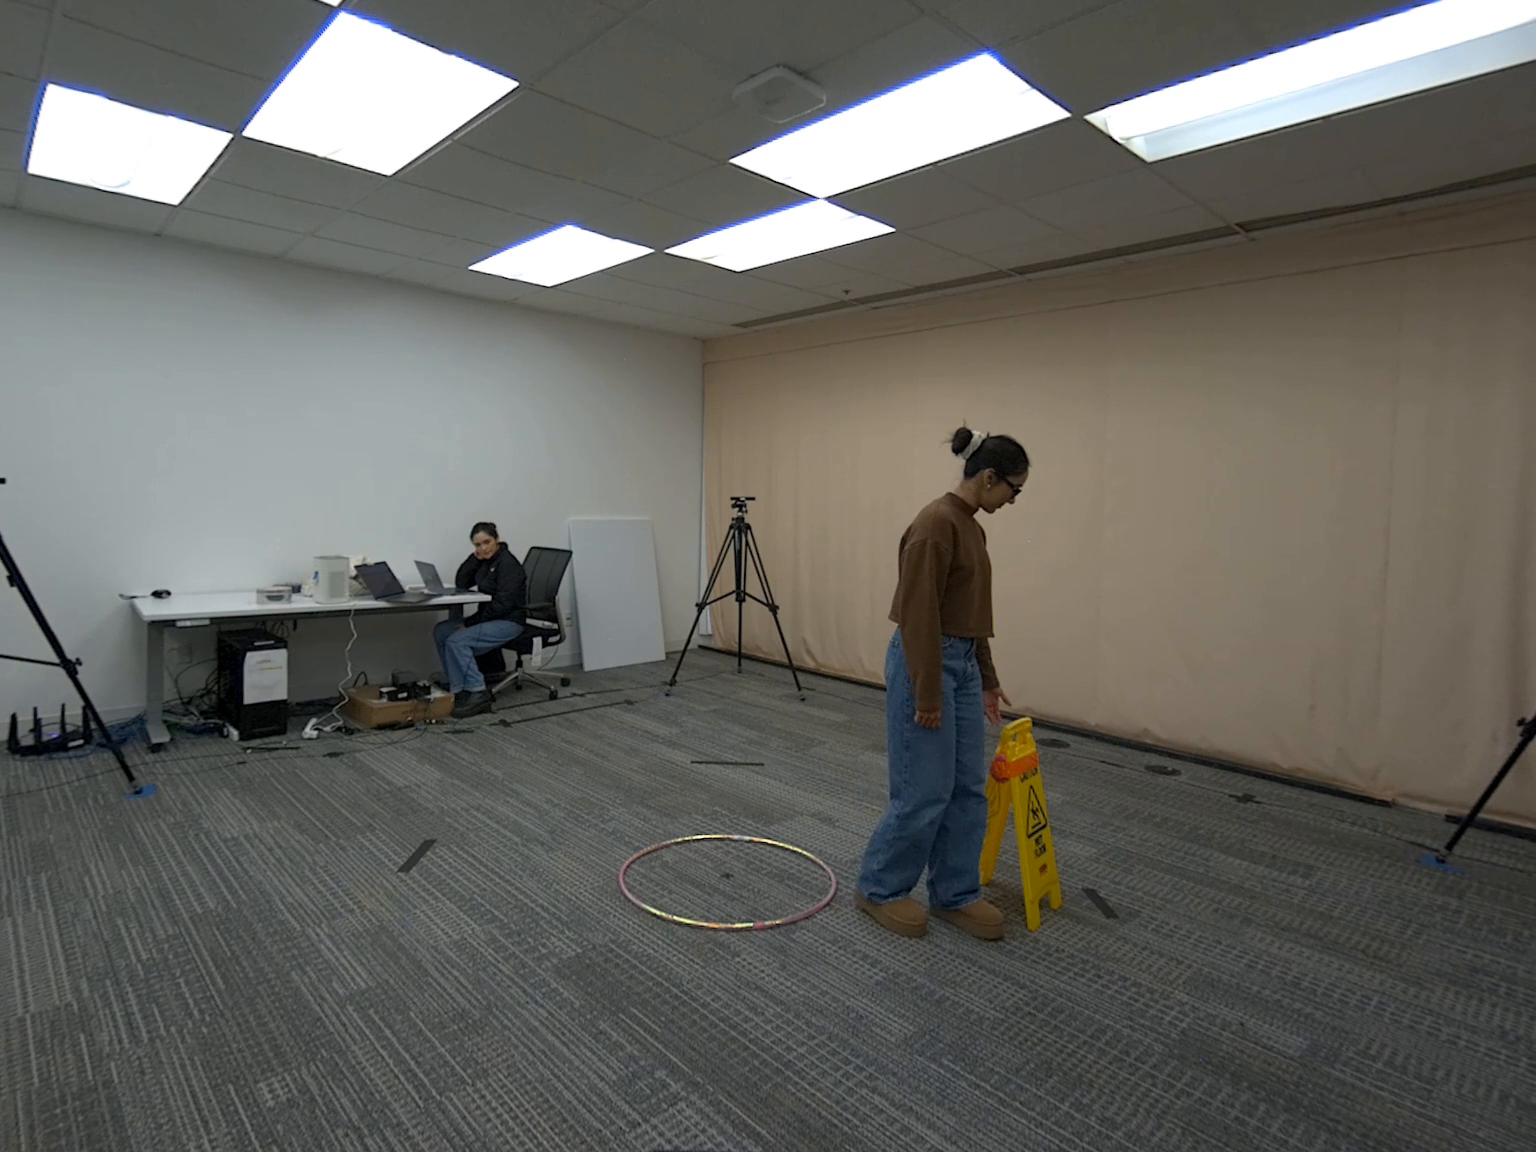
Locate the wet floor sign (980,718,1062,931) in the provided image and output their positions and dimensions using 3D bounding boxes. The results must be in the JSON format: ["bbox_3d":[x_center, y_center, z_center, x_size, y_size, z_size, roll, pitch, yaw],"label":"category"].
[{"bbox_3d":[0.850,0.825,2.931,0.297,0.645,0.276,4,4,40],"label":"wet floor sign"}]
